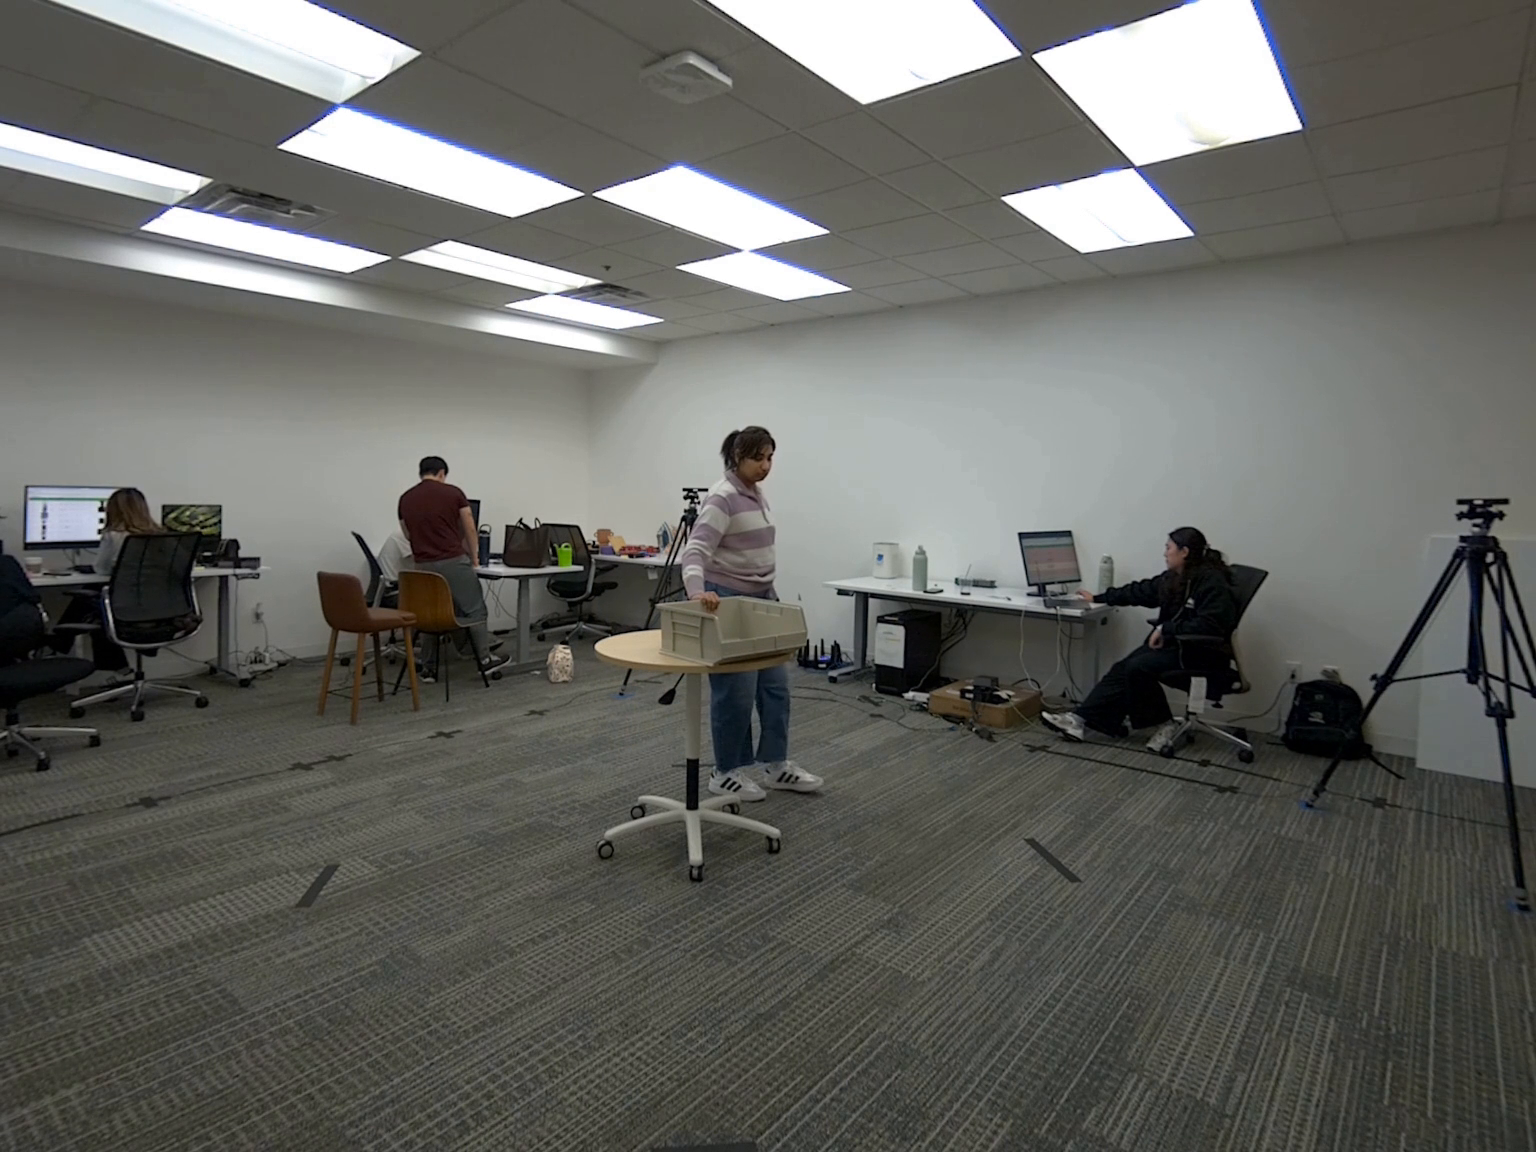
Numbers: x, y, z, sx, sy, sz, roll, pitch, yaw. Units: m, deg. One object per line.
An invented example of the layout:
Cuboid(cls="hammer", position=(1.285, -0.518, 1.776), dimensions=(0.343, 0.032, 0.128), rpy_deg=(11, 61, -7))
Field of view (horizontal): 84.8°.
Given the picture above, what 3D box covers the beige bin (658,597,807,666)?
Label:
Cuboid(cls="beige bin", position=(-0.142, 0.198, 3.127), dimensions=(0.410, 0.188, 0.390), rpy_deg=(-4, 6, -41))
